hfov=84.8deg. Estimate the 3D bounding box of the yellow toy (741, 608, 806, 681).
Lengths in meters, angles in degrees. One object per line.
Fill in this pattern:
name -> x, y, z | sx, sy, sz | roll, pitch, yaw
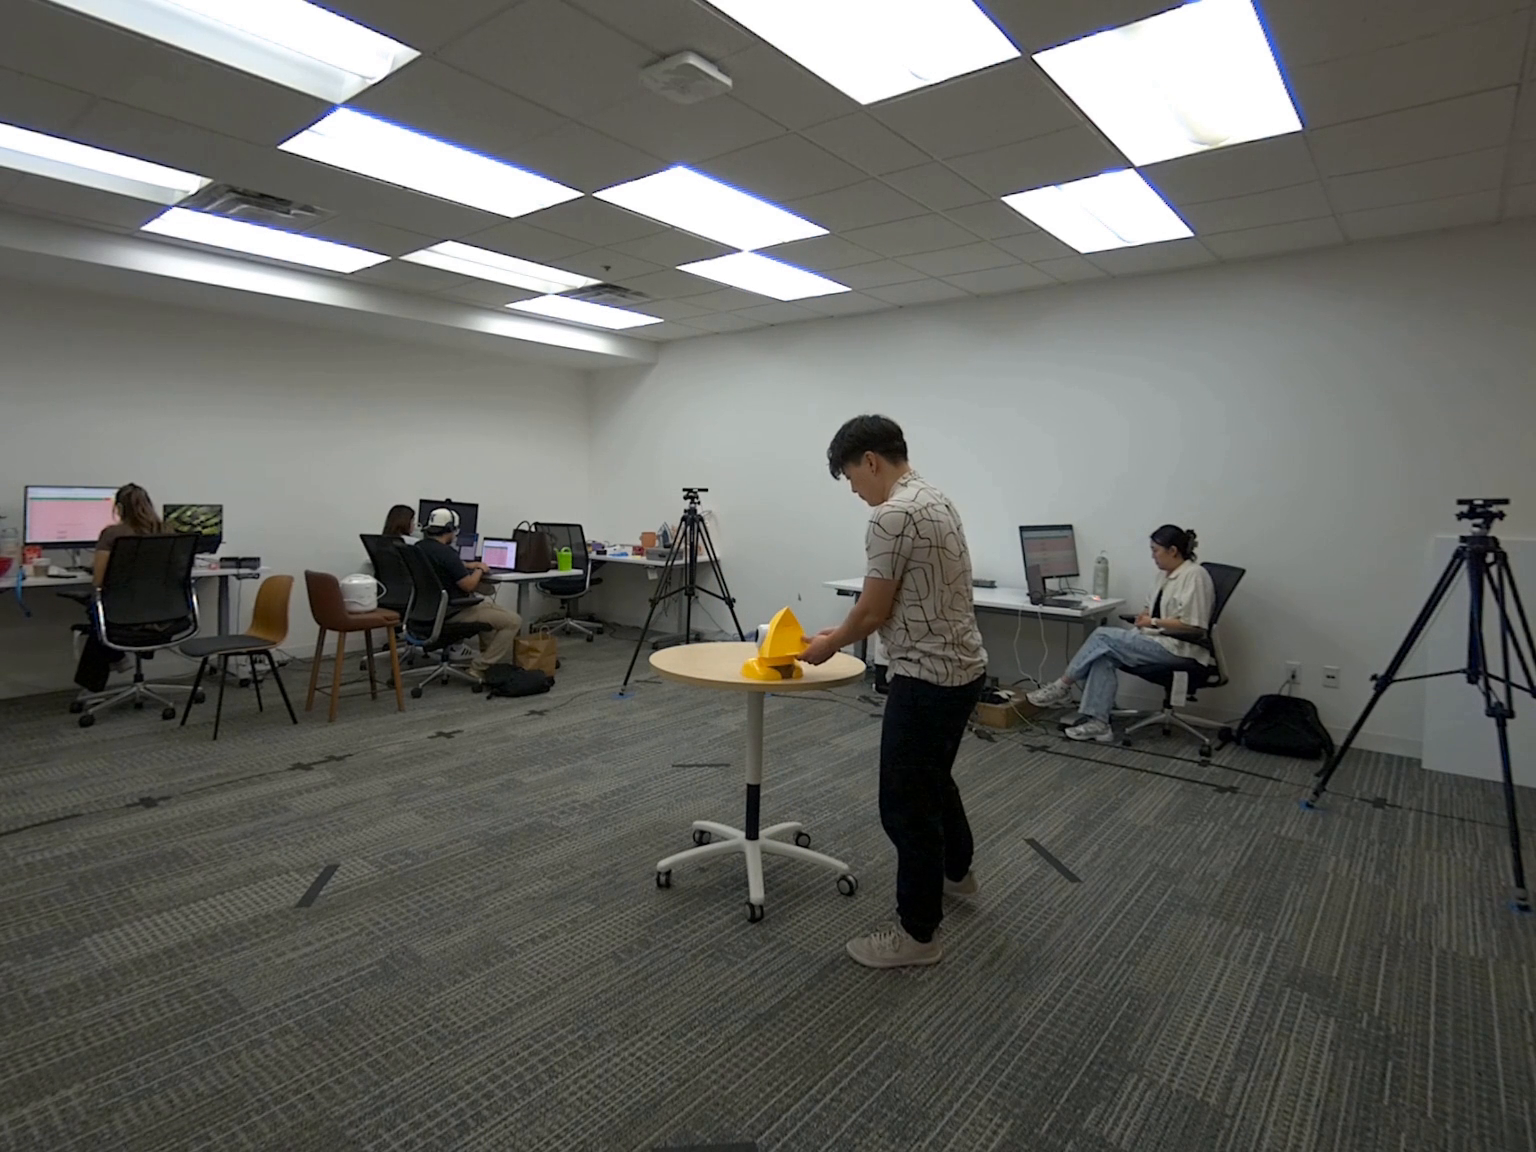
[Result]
yellow toy -> 0.009, 0.210, 2.780 | 0.199, 0.230, 0.199 | -2, 4, -37
